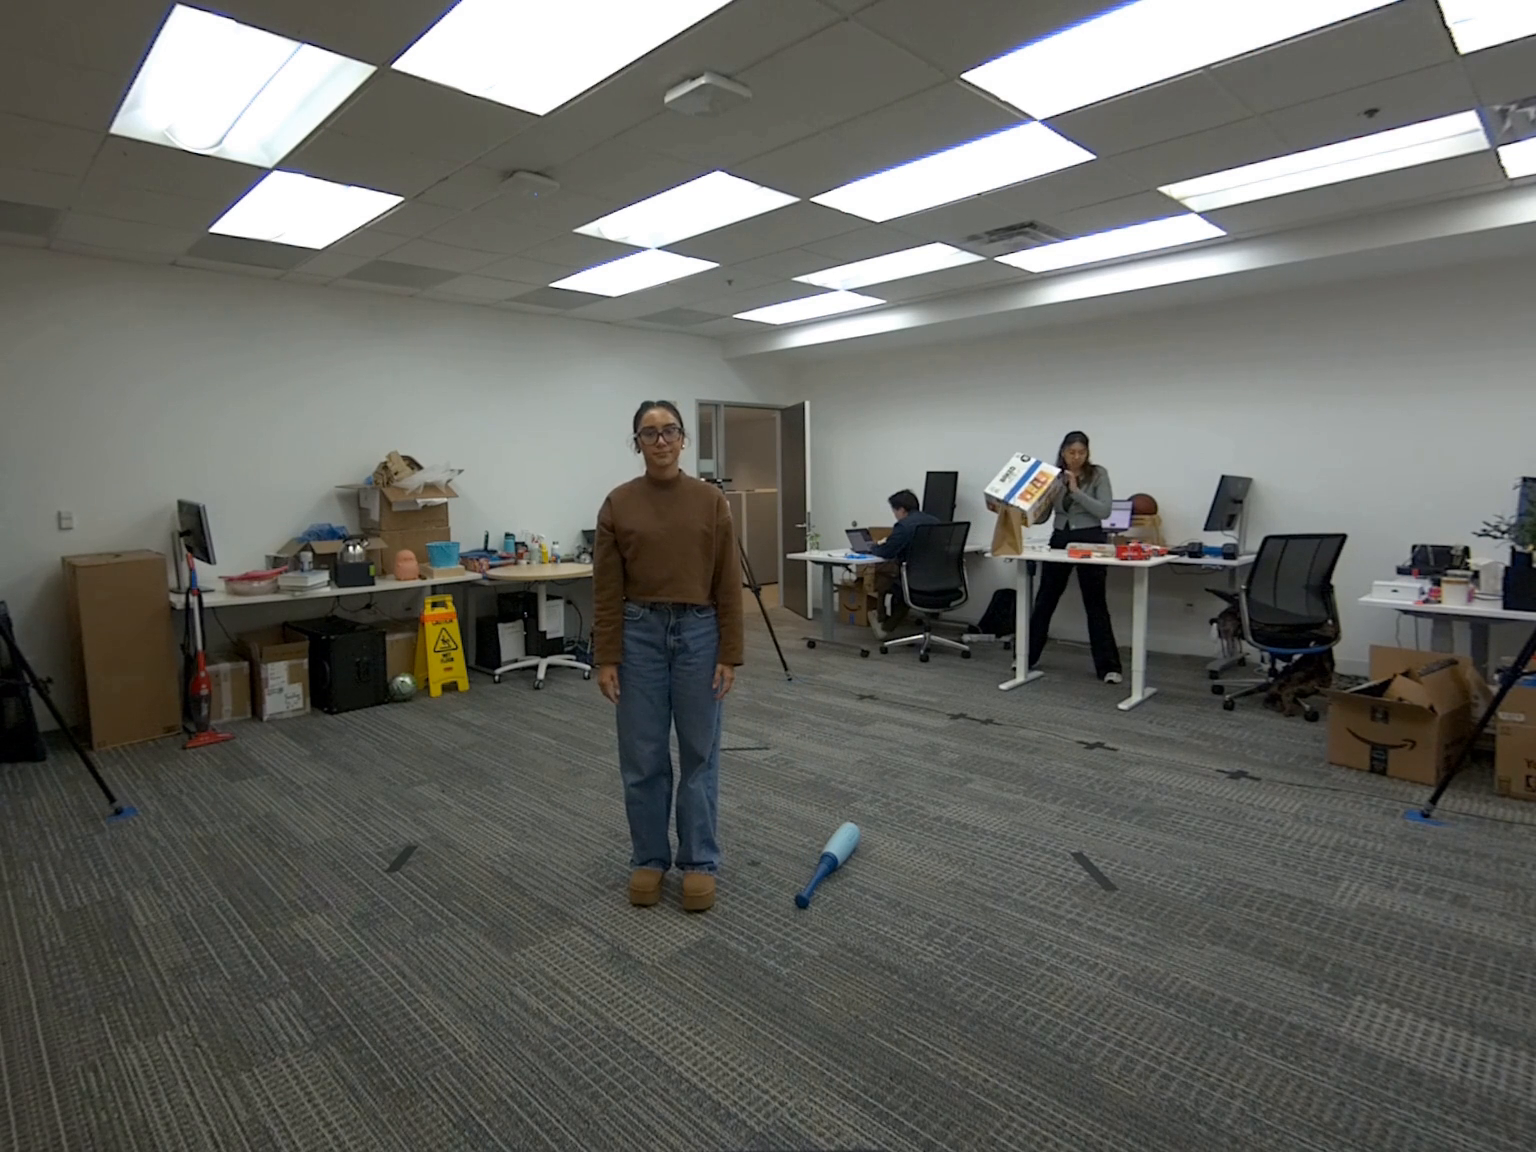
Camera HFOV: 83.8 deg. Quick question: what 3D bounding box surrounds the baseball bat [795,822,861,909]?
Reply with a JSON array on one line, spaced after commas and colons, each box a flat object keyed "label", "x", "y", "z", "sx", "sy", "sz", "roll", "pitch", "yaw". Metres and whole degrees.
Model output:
[{"label": "baseball bat", "x": 0.215, "y": 1.014, "z": 3.006, "sx": 0.091, "sy": 0.088, "sz": 0.535, "roll": 1, "pitch": 9, "yaw": 22}]
